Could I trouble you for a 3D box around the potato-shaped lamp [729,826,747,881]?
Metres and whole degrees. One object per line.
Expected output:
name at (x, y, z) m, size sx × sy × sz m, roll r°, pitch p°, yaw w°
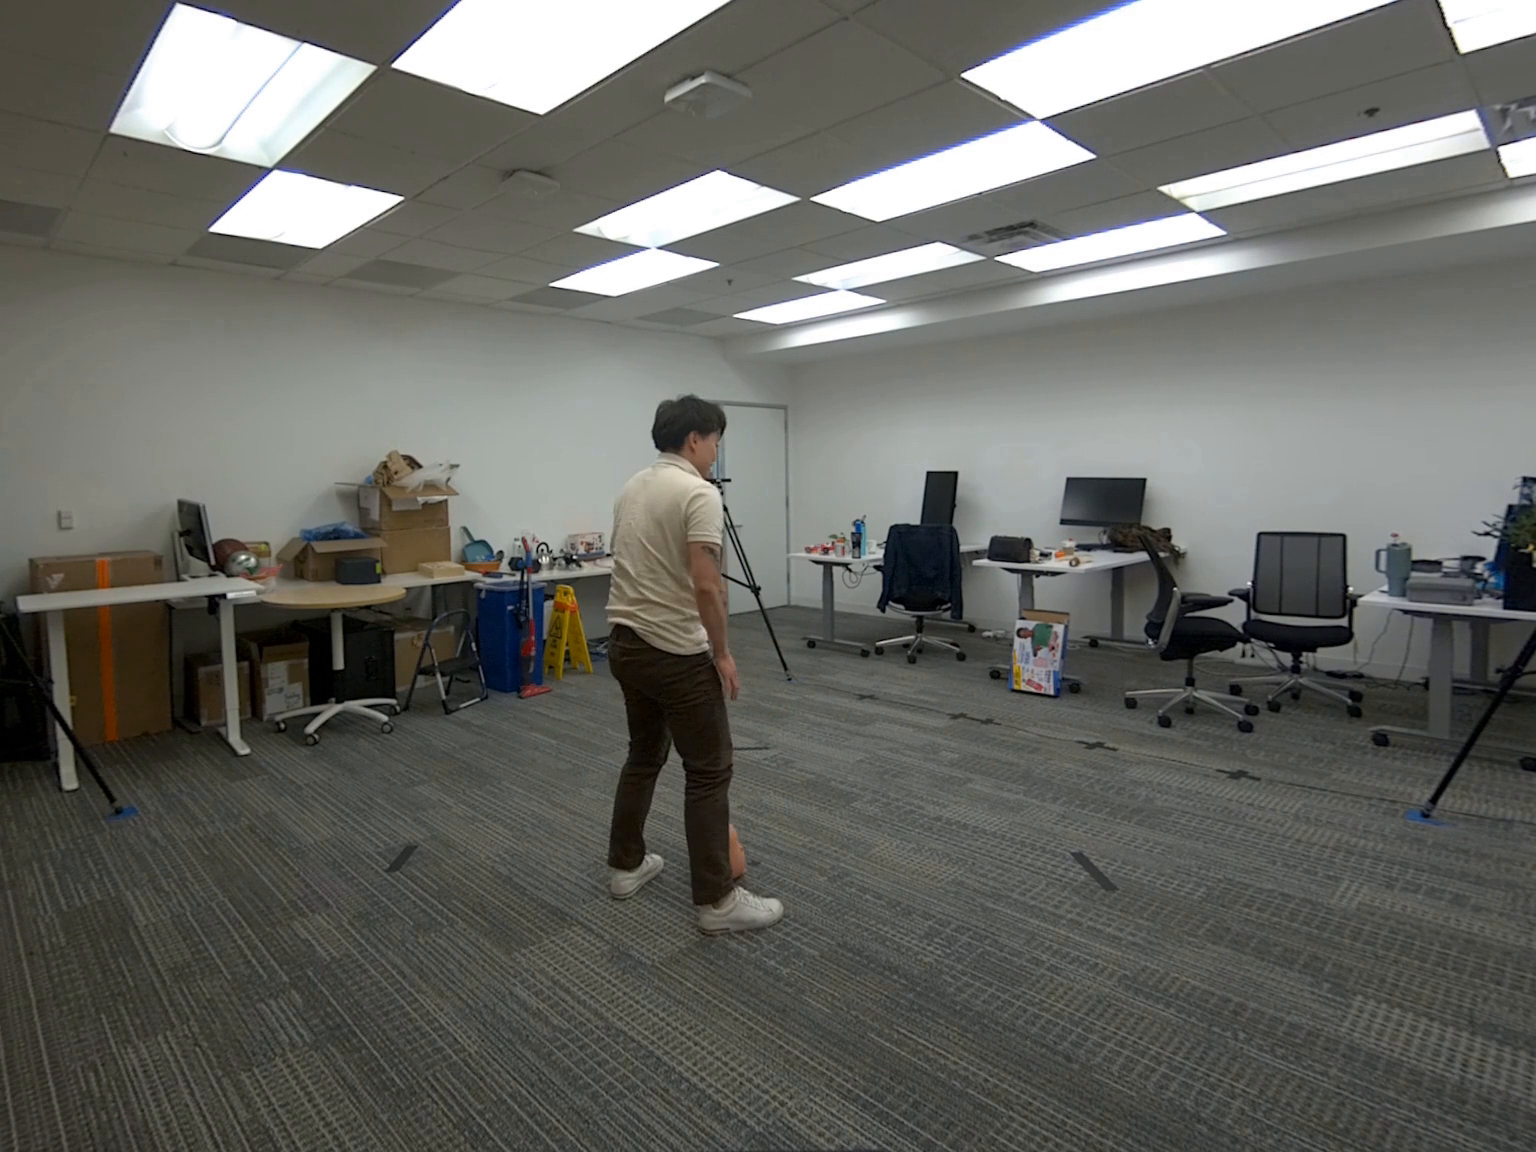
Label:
potato-shaped lamp at (-0.155, 0.959, 3.000) m, size 0.167 × 0.197 × 0.169 m, roll -5°, pitch 5°, yaw -42°
